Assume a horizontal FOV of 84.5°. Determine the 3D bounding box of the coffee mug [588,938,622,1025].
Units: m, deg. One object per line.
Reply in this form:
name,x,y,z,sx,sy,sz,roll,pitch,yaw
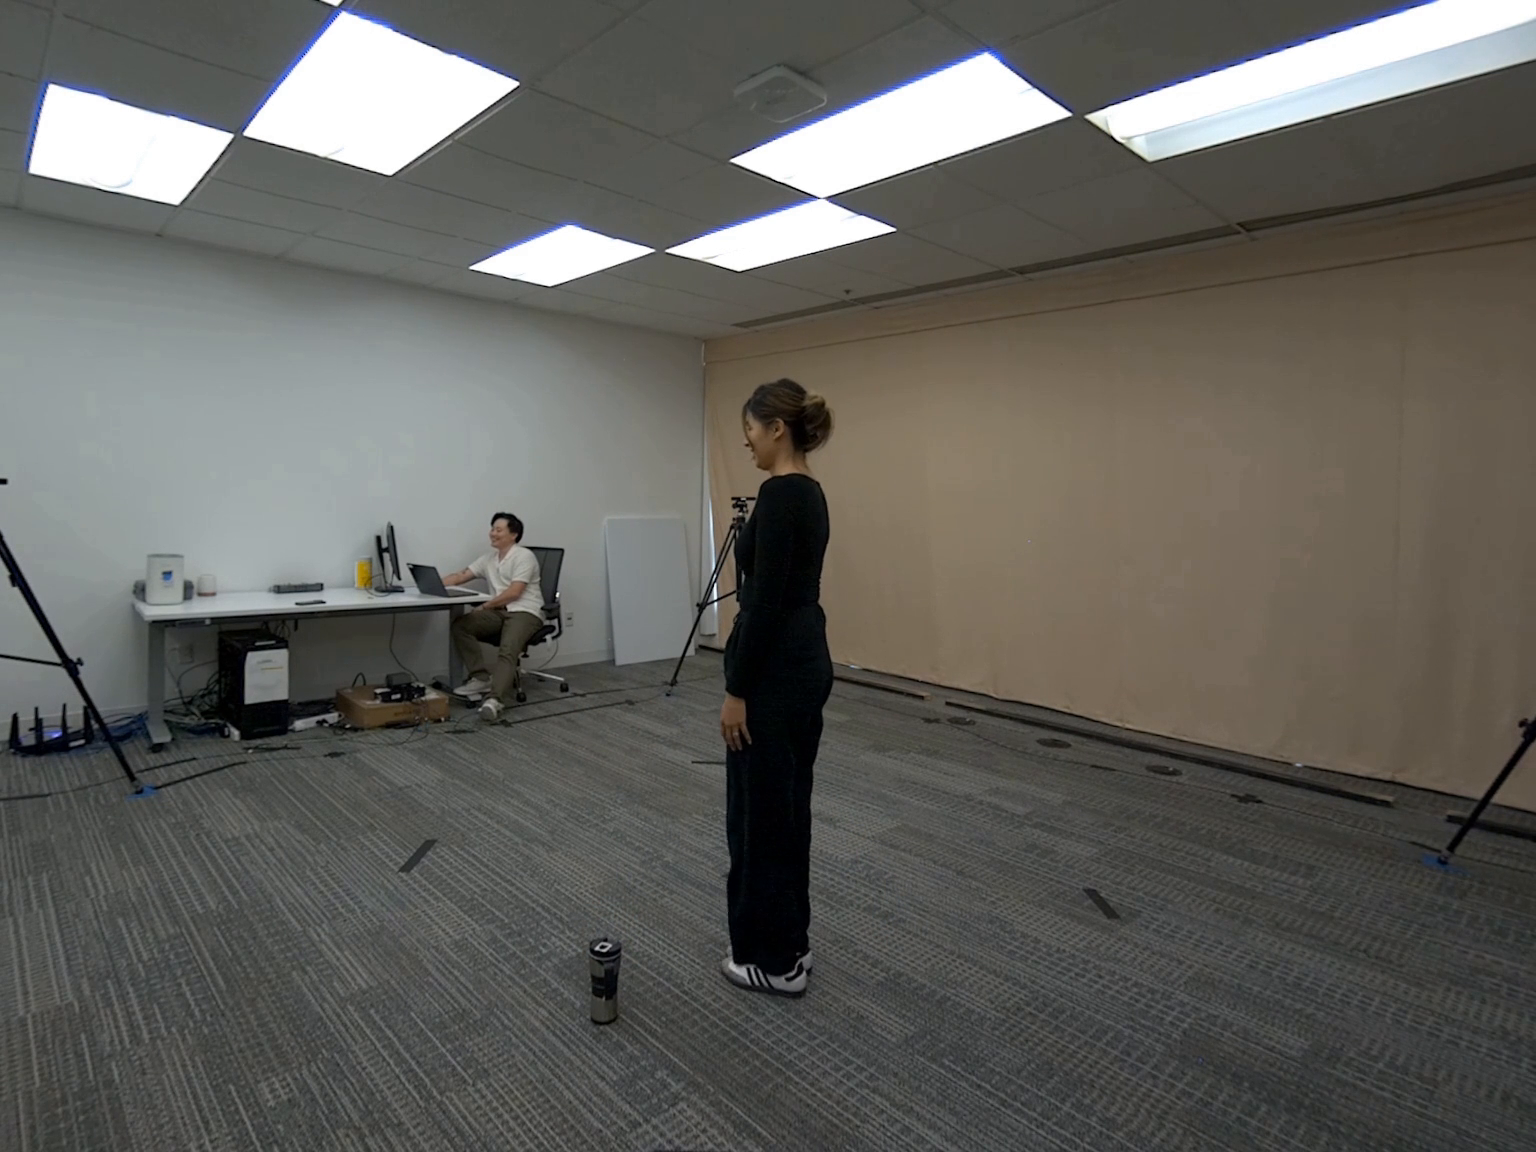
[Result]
coffee mug,-0.449,1.084,2.213,0.088,0.203,0.121,4,1,6
